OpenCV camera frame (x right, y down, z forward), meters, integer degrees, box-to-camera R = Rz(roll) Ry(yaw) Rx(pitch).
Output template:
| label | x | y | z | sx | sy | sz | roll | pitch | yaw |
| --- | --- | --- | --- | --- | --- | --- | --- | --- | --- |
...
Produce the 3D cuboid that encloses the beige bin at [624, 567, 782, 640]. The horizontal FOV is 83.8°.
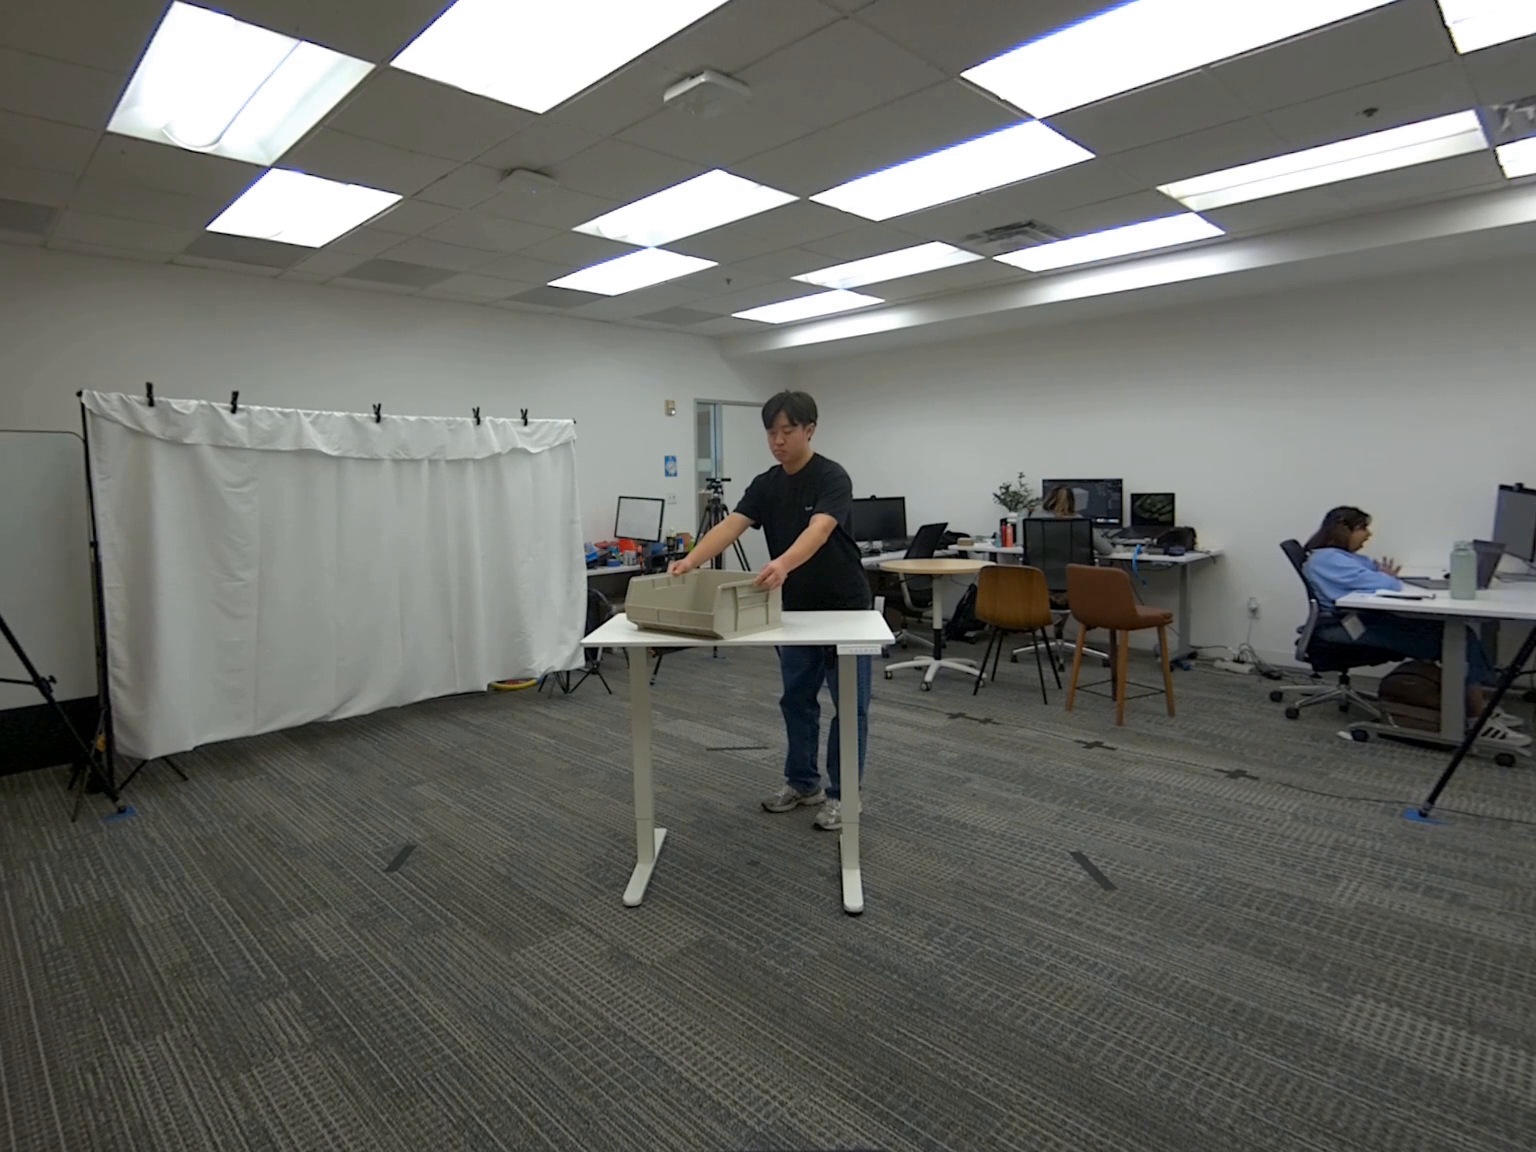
| label | x | y | z | sx | sy | sz | roll | pitch | yaw |
| --- | --- | --- | --- | --- | --- | --- | --- | --- | --- |
| beige bin | -0.215 | 0.095 | 2.942 | 0.435 | 0.188 | 0.367 | 4 | 6 | 40 |
